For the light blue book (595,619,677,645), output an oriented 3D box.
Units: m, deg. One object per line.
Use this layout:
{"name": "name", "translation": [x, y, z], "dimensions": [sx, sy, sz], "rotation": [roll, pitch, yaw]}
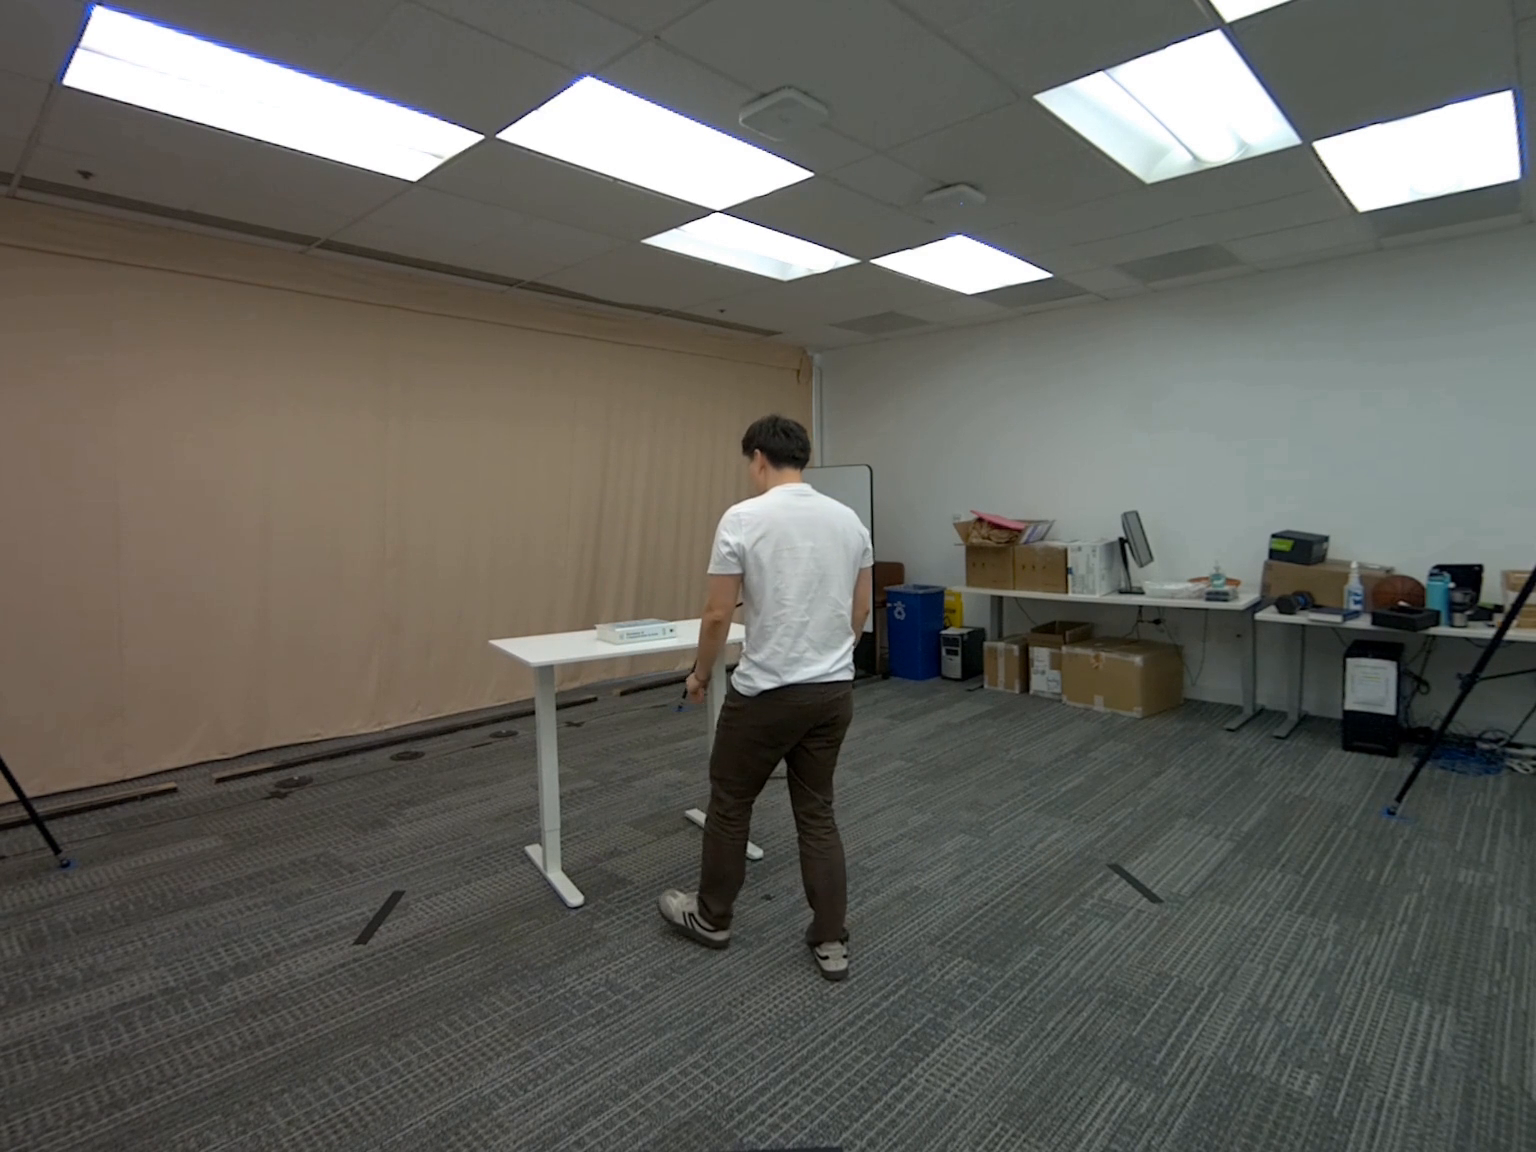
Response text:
{"name": "light blue book", "translation": [-0.528, 0.218, 3.290], "dimensions": [0.253, 0.059, 0.197], "rotation": [-4, 6, -34]}
